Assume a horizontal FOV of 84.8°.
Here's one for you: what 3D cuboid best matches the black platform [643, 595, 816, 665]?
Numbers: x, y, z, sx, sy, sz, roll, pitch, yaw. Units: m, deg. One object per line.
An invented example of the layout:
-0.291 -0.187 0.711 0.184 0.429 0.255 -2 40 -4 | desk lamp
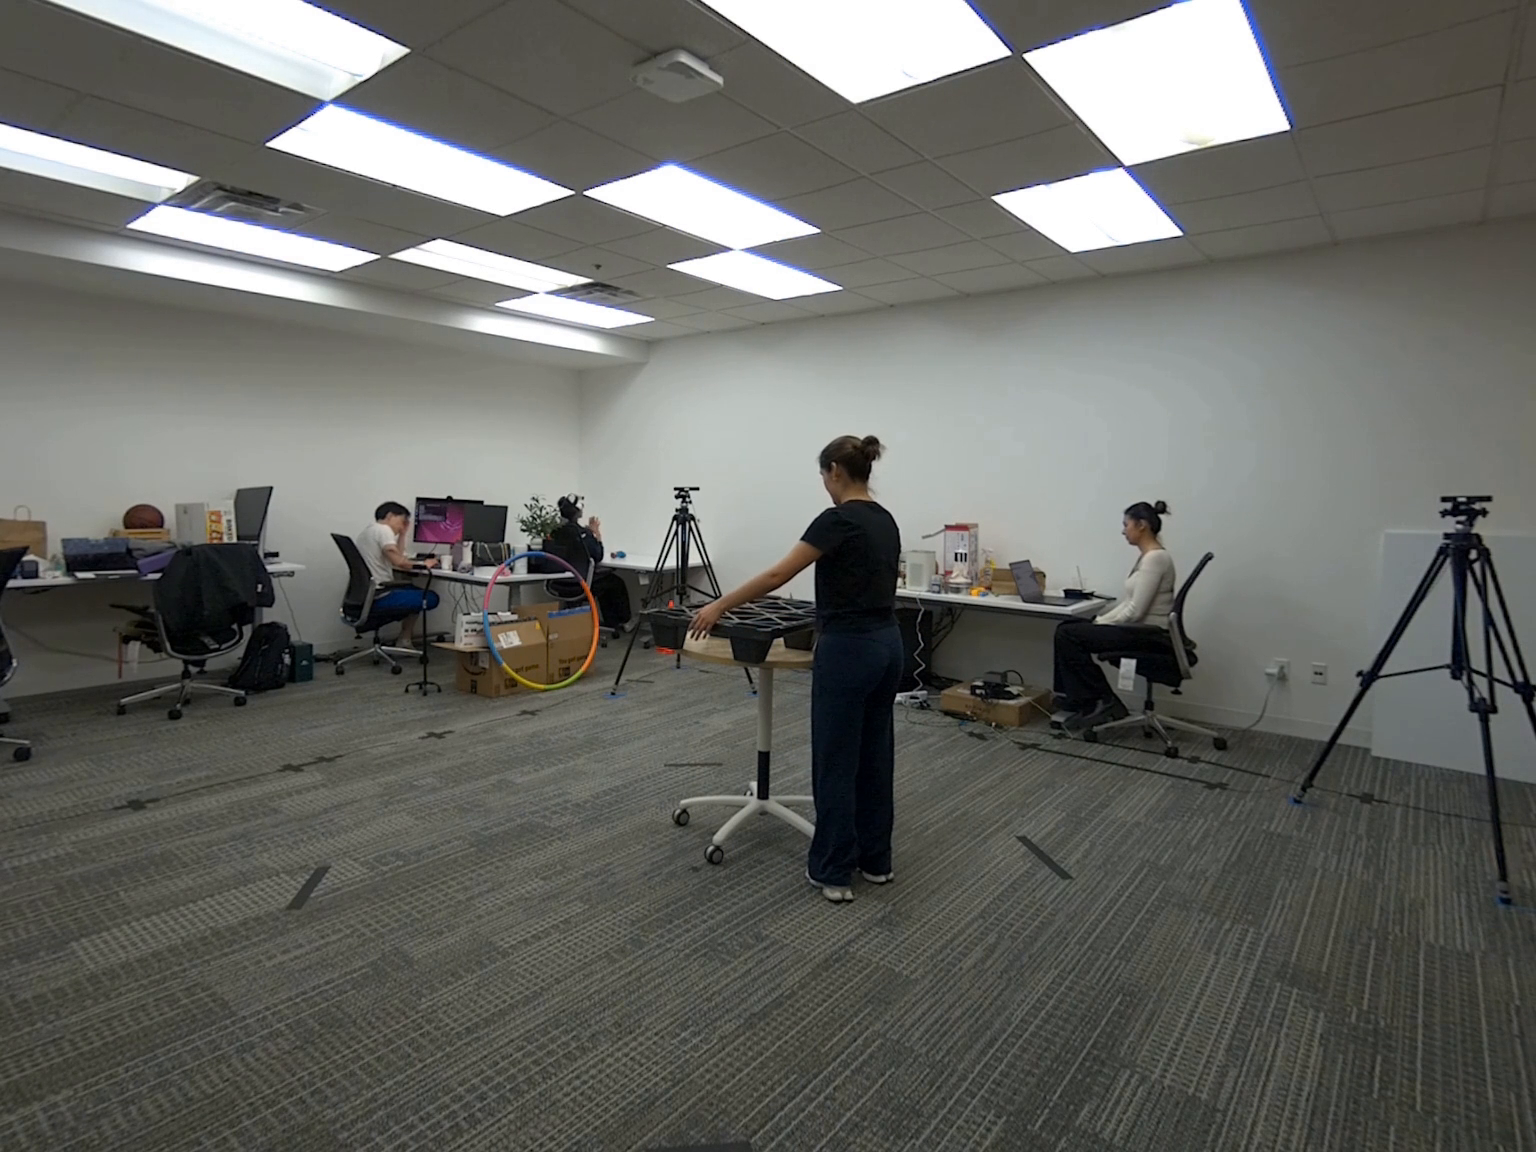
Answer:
-0.021 0.193 3.402 0.625 0.143 0.783 6 7 35 | black platform
